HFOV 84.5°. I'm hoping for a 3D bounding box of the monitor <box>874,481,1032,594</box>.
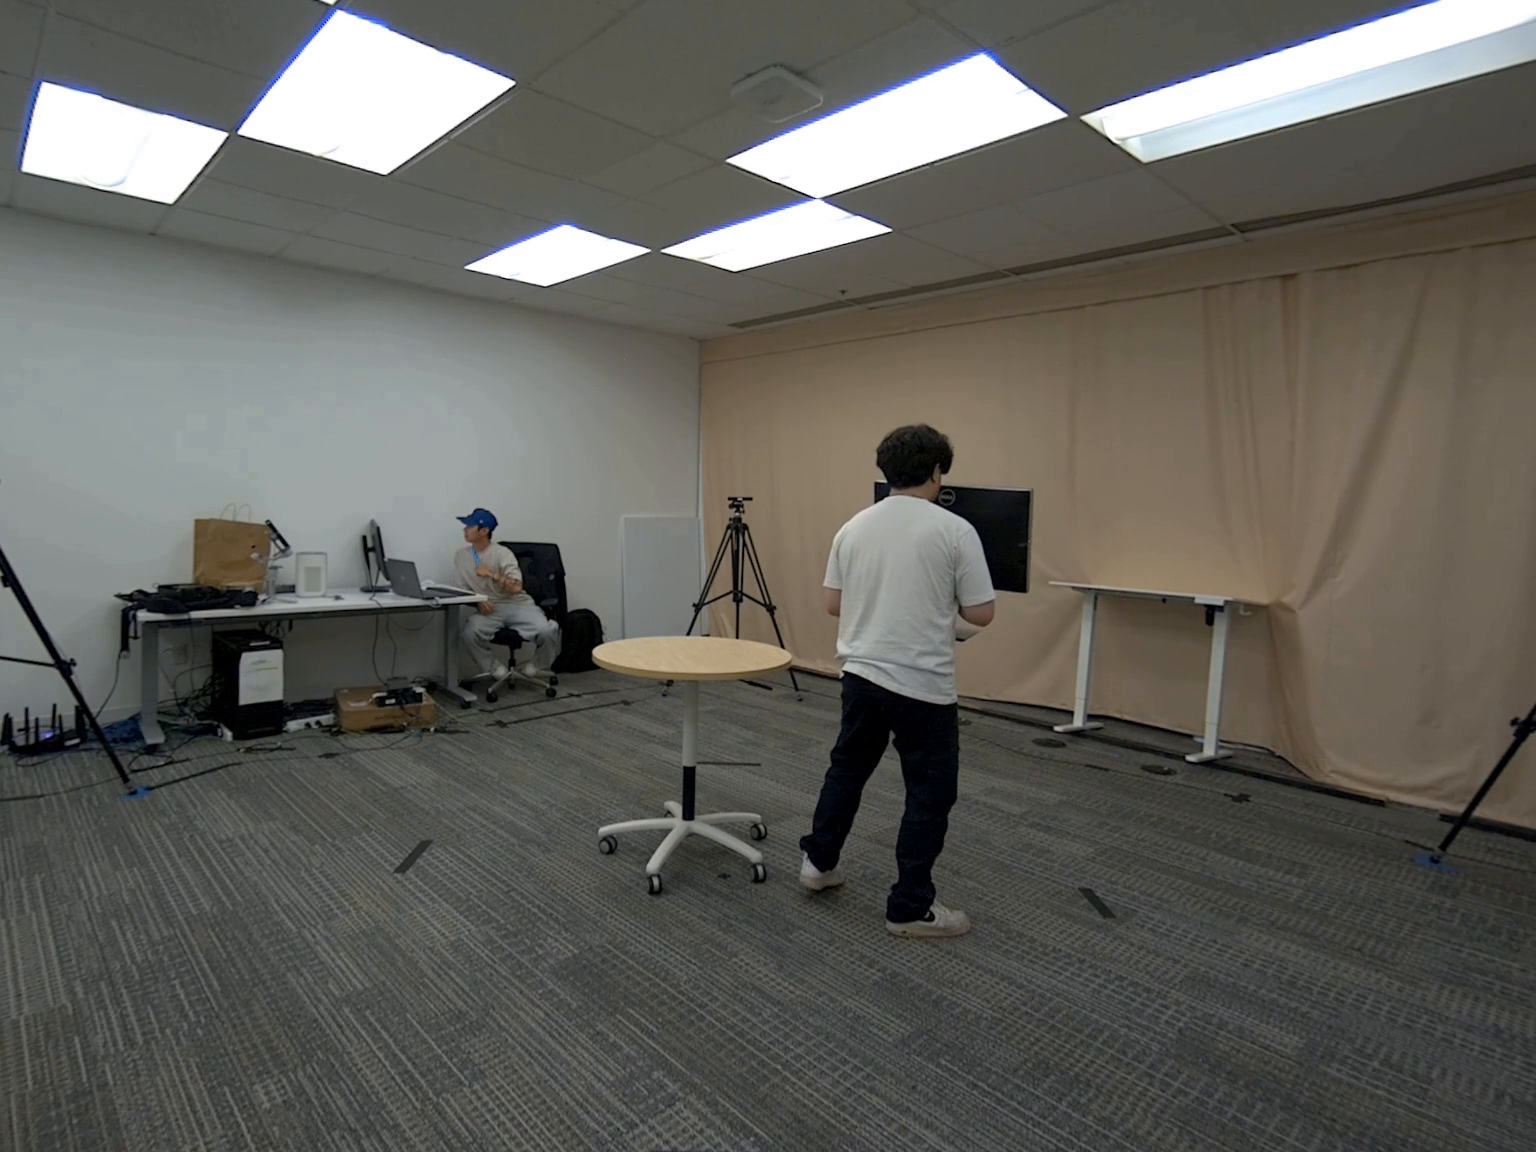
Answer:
[{"bbox_3d":[0.598,-0.045,2.935,0.579,0.550,0.206,8,11,32],"label":"monitor"}]
